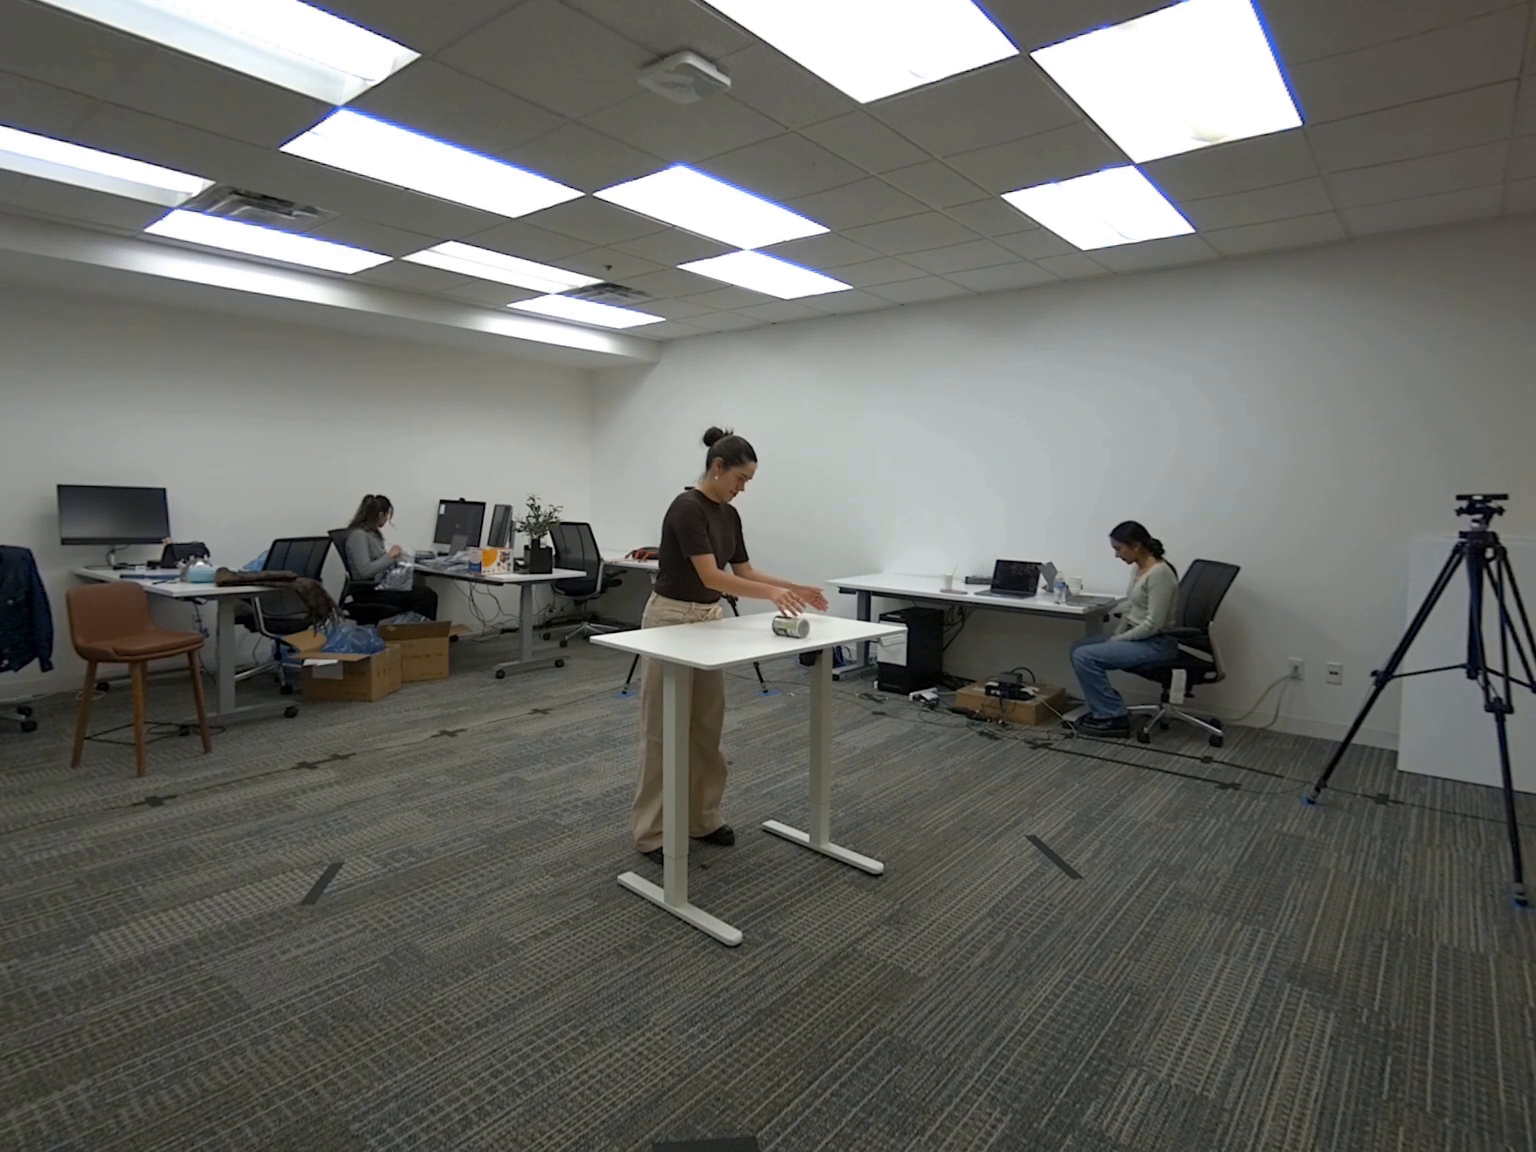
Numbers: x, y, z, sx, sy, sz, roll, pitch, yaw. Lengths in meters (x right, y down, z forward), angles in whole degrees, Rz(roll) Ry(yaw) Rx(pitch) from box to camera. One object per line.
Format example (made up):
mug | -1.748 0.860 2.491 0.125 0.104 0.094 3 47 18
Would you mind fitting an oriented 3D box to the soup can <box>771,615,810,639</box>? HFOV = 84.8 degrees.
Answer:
soup can | 0.069 0.169 2.915 0.125 0.067 0.065 5 6 35
